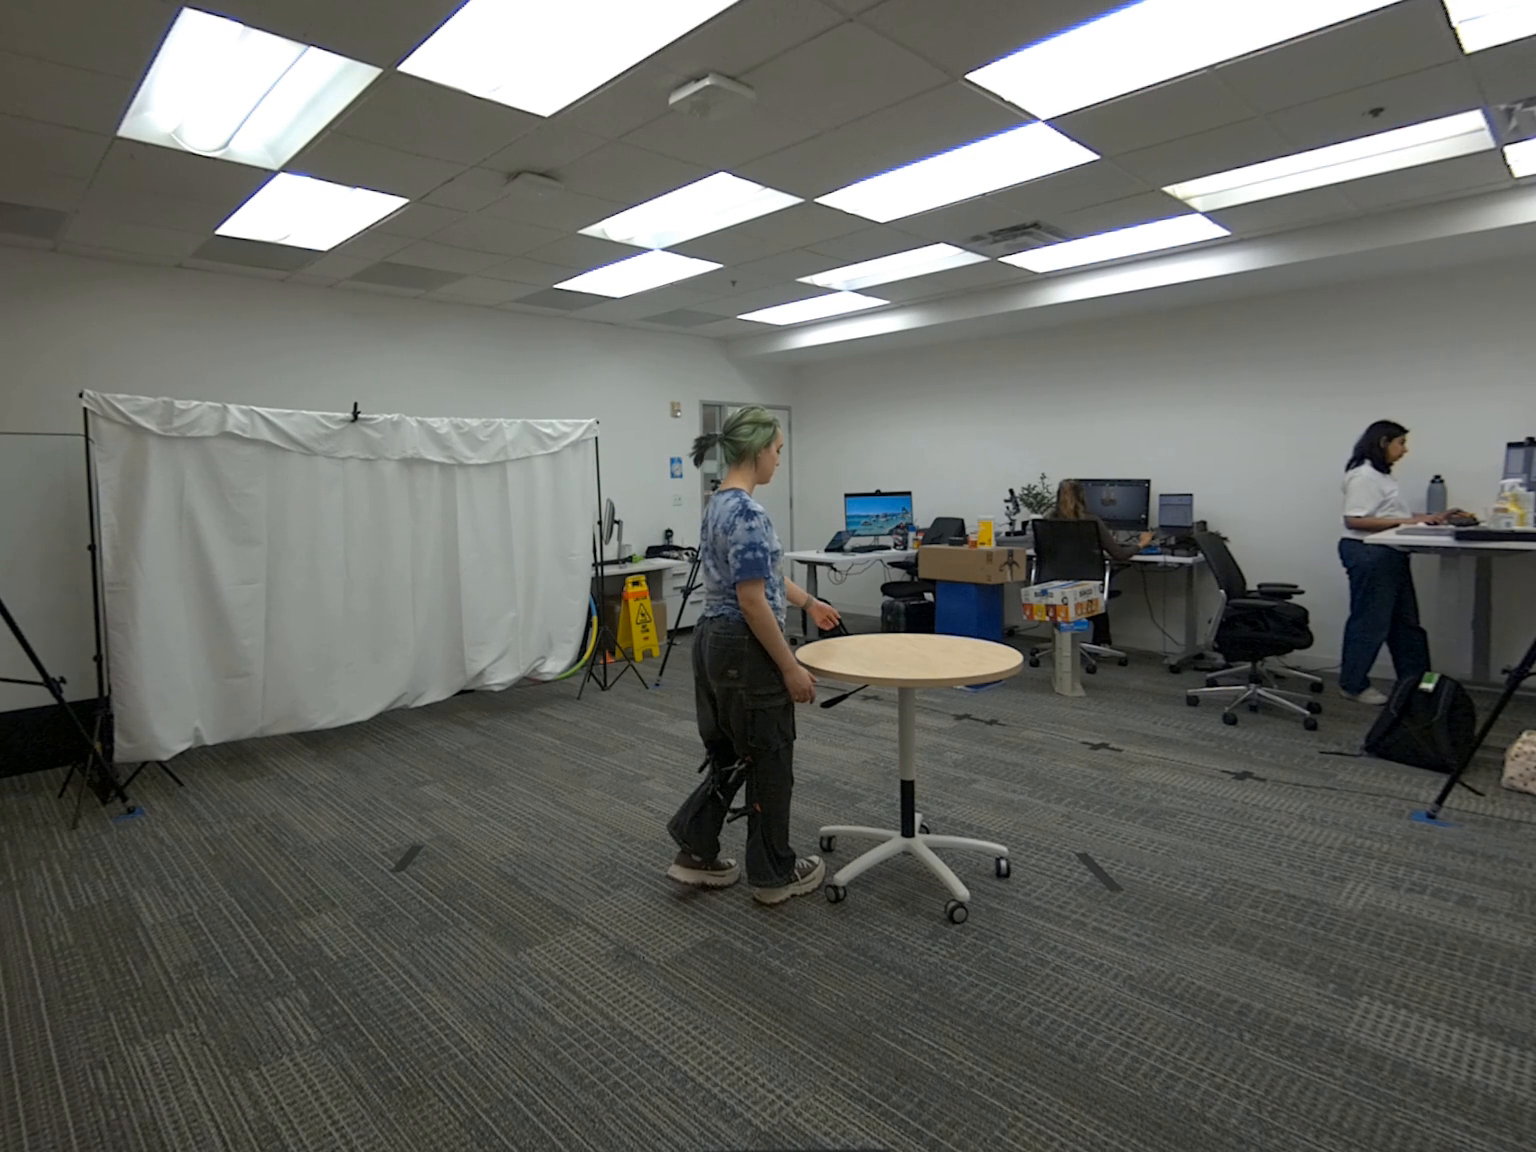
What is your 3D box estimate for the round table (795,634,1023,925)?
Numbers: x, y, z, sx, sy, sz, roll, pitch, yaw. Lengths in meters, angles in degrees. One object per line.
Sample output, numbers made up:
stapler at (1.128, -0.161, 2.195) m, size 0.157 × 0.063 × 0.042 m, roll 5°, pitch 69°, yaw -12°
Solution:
round table at (0.487, 0.663, 2.983) m, size 0.763 × 0.791 × 0.768 m, roll -1°, pitch 5°, yaw -2°
